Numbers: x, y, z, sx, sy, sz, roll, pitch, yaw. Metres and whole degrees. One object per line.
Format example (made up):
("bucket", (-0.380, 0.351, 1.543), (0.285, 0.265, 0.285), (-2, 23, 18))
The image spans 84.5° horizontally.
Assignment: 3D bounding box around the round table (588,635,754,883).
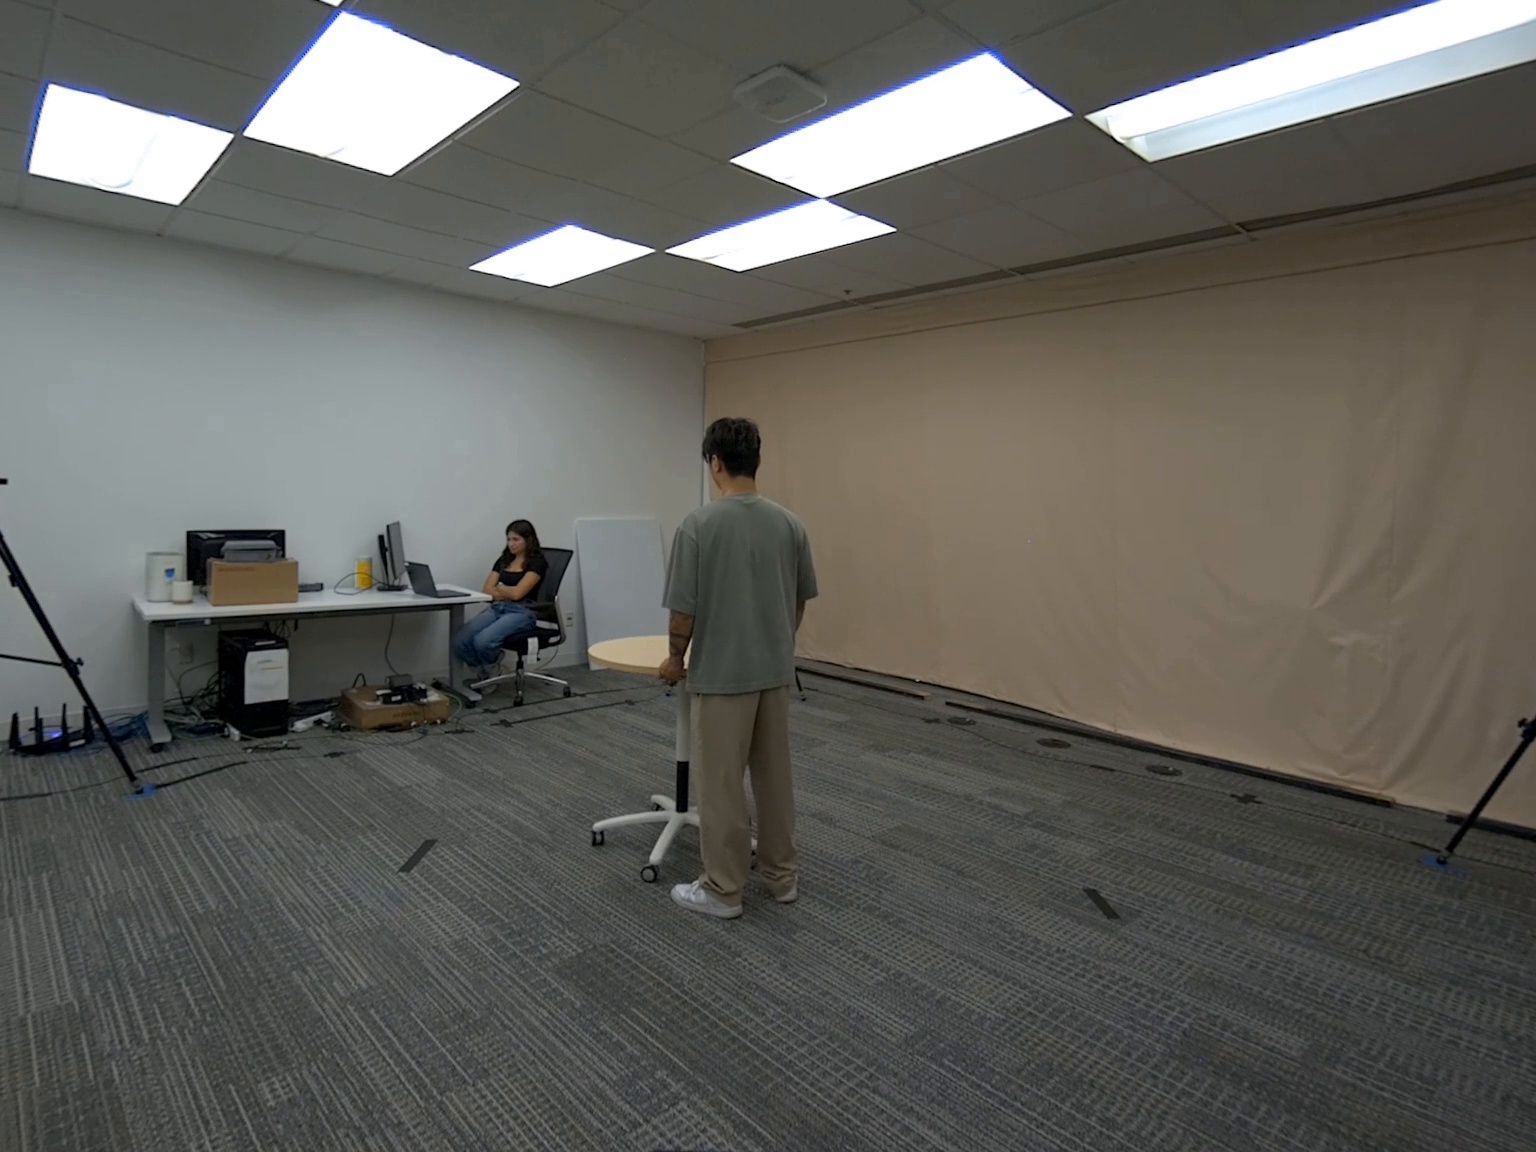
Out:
("round table", (-0.358, 0.686, 3.342), (0.784, 0.784, 0.788), (1, 4, -1))
